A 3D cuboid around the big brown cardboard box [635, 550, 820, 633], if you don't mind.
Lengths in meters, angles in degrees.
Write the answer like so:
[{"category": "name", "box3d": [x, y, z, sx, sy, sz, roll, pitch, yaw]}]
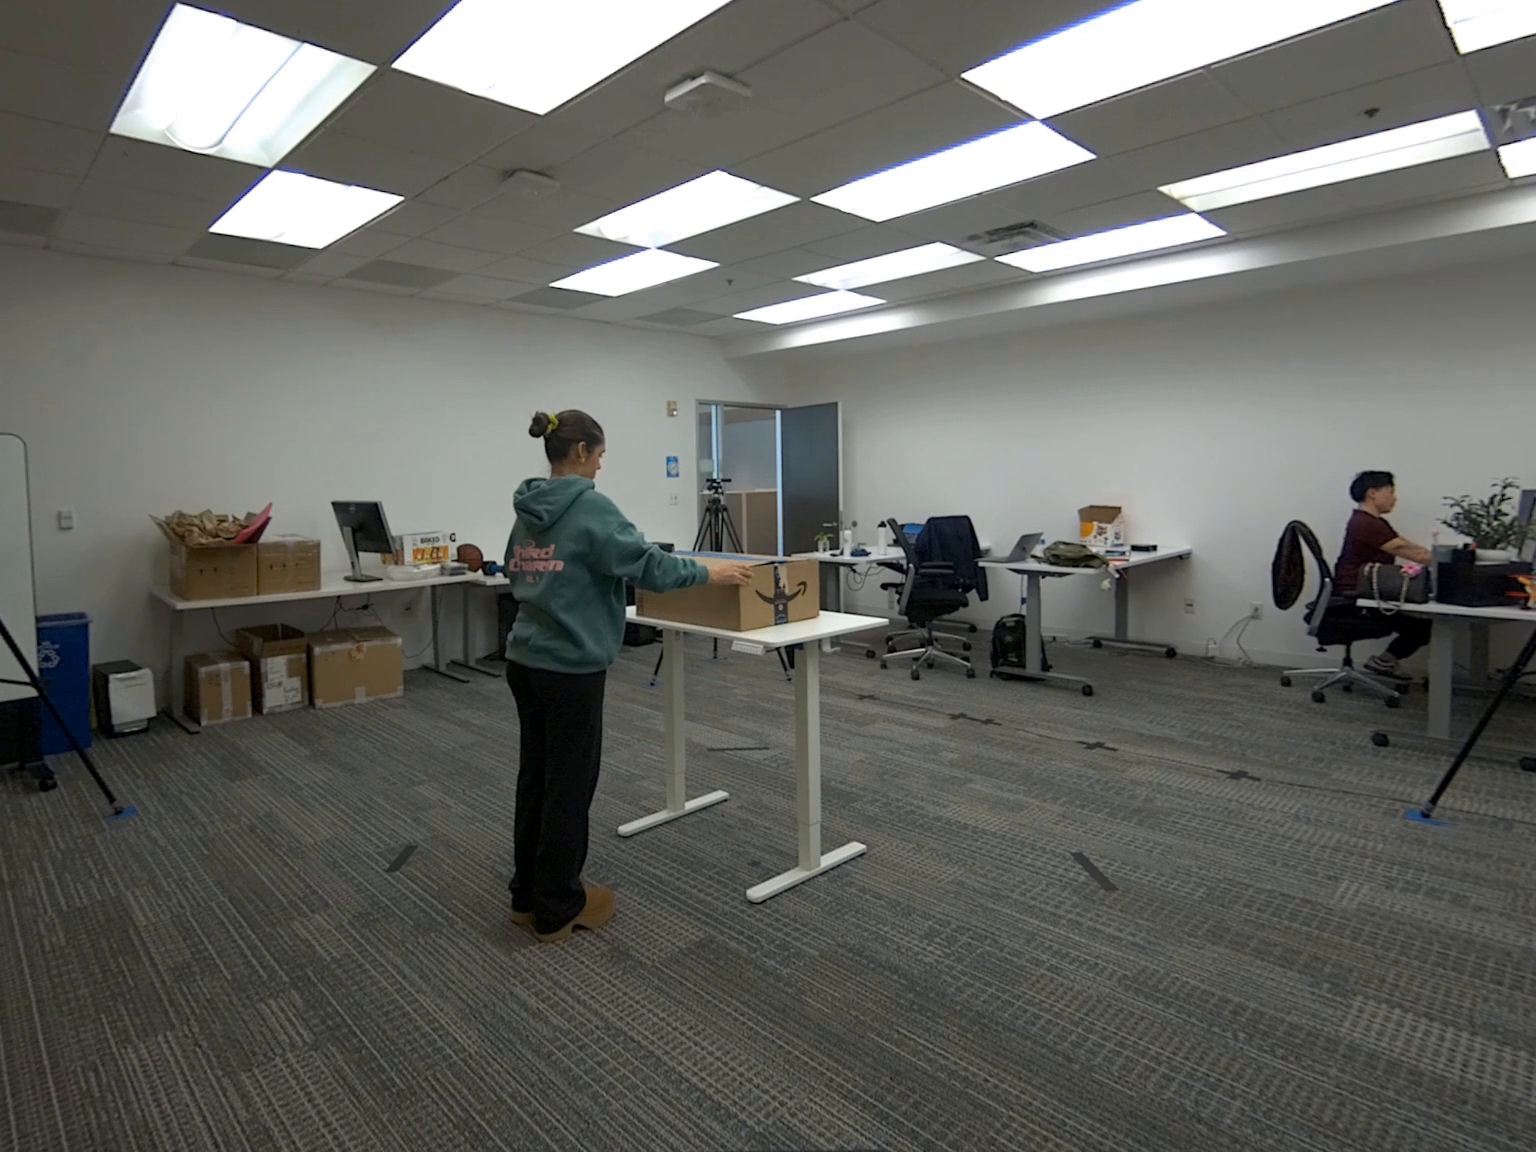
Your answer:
[{"category": "big brown cardboard box", "box3d": [-0.161, 0.047, 3.203, 0.607, 0.232, 0.407, 6, 9, 43]}]
